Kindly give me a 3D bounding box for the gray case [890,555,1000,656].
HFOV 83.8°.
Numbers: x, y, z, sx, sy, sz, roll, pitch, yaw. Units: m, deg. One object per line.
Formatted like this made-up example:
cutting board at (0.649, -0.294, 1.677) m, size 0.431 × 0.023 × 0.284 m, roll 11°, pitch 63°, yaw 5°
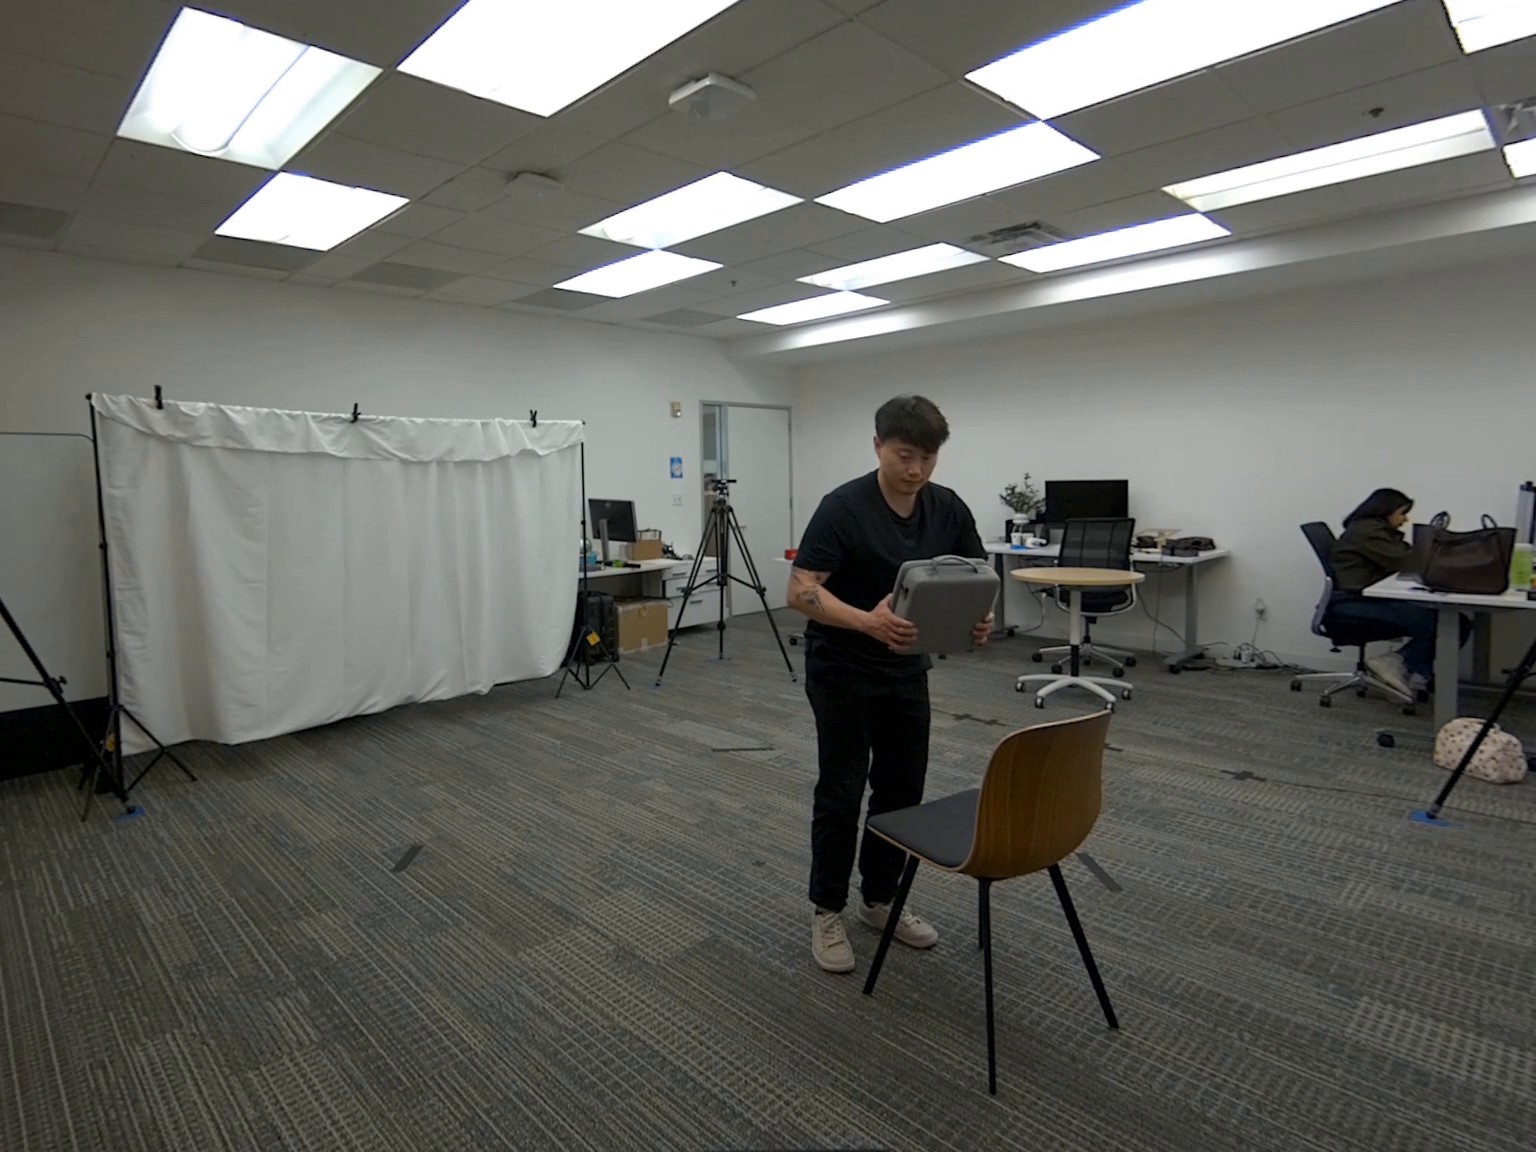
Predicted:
gray case at (0.452, 0.078, 2.226) m, size 0.253 × 0.255 × 0.108 m, roll -1°, pitch 34°, yaw -15°
